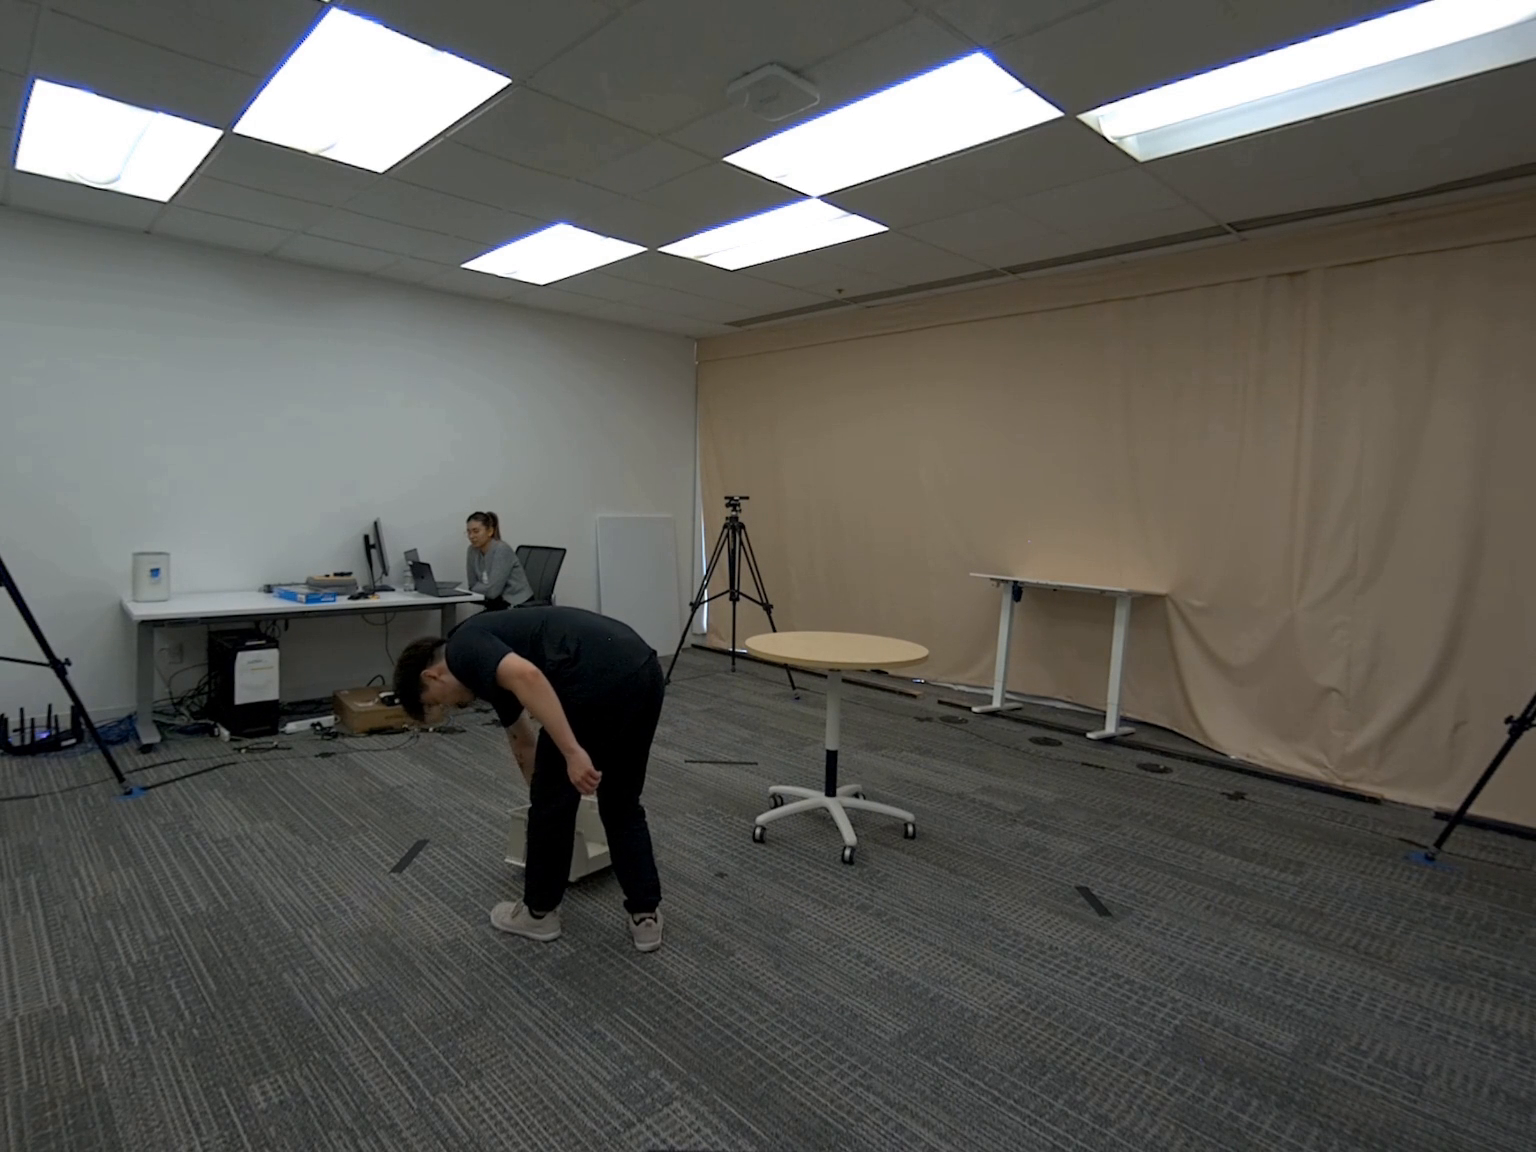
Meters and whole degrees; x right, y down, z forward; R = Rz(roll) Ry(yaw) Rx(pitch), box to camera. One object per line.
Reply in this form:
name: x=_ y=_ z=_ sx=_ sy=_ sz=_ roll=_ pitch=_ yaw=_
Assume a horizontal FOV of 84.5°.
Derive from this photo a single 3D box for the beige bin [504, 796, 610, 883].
beige bin: x=-0.711 y=0.975 z=3.147 sx=0.385 sy=0.189 sz=0.413 roll=3 pitch=-2 yaw=25
